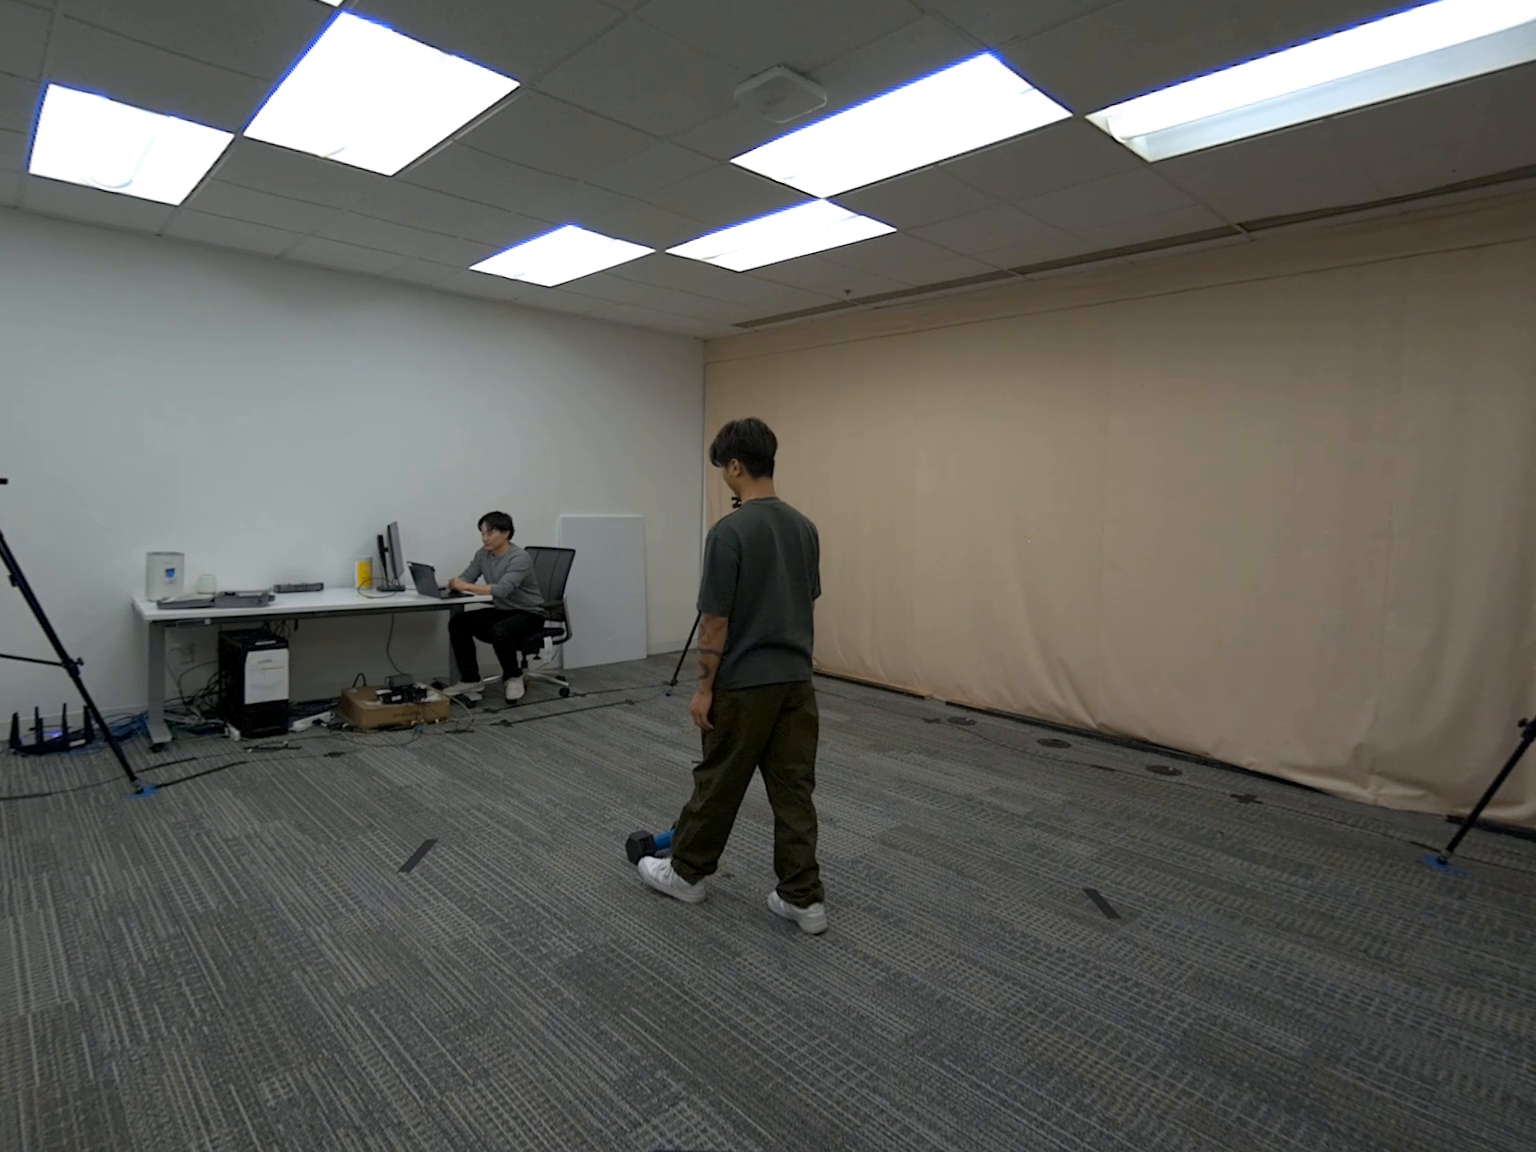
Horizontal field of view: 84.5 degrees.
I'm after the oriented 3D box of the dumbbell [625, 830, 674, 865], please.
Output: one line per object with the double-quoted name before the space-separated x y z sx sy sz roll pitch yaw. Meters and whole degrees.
"dumbbell" -0.414 1.031 3.274 0.287 0.125 0.109 -3 -25 -41
